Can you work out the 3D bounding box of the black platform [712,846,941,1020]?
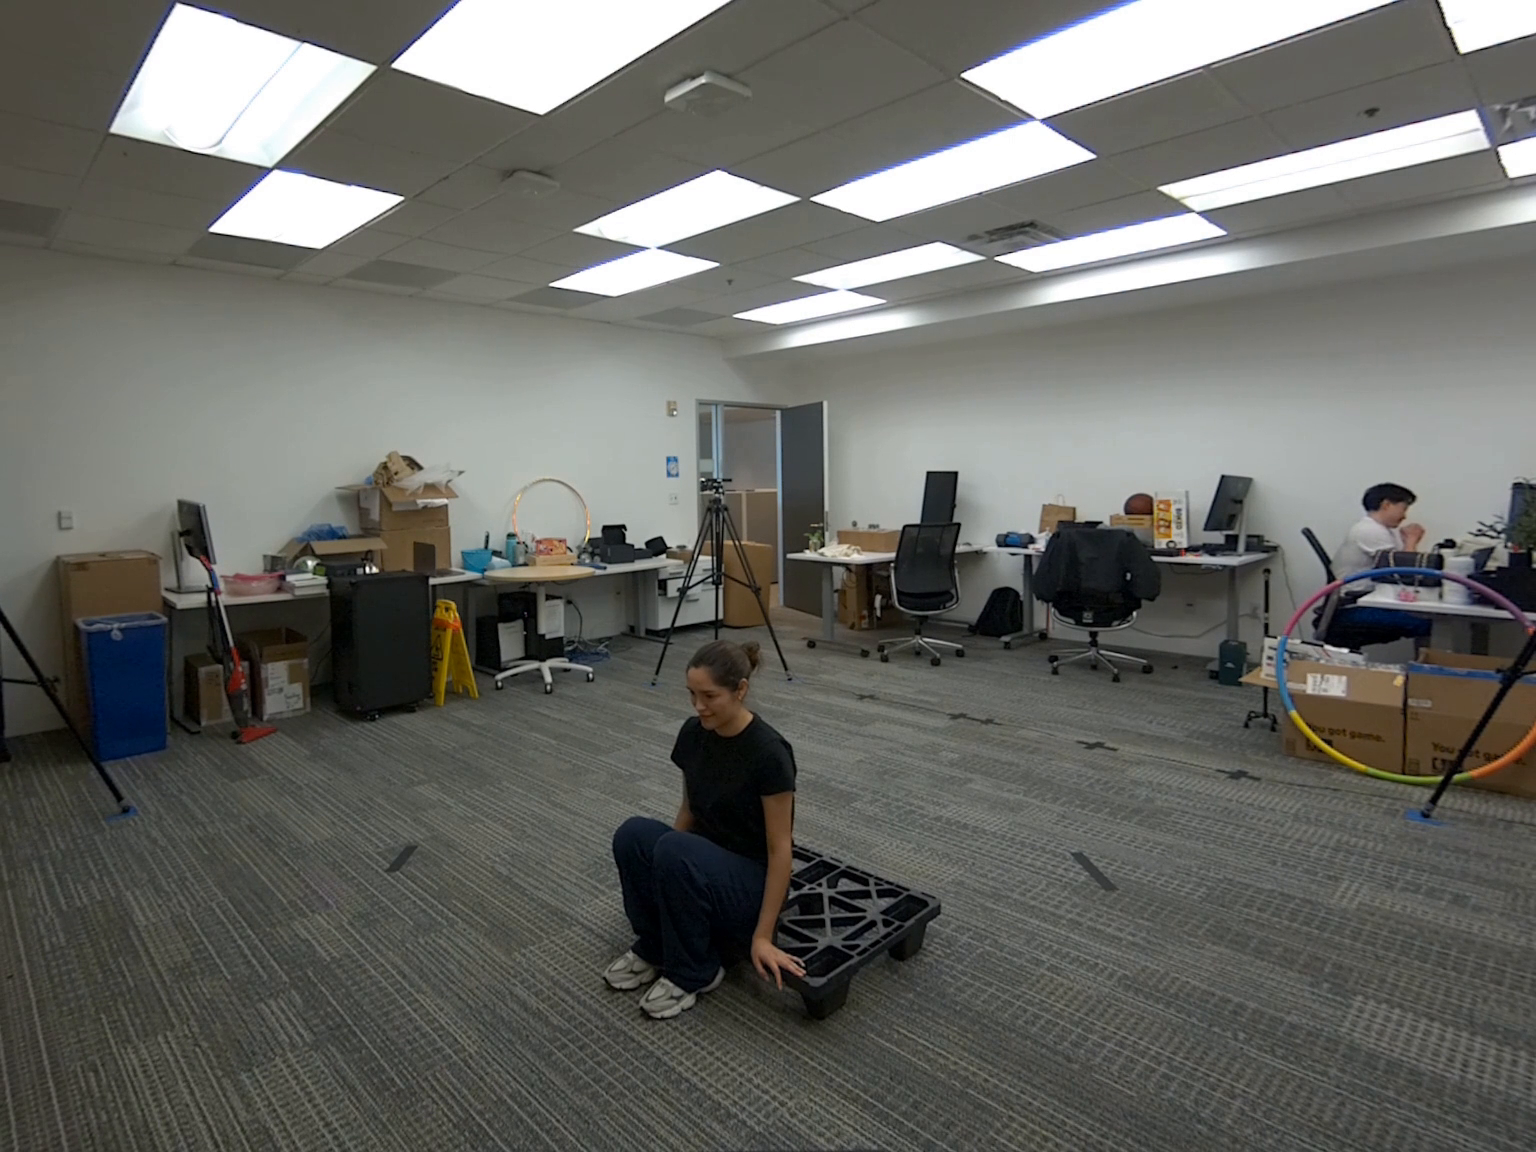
[{"bbox_3d":[0.032,1.029,2.644,0.831,0.143,0.589,6,9,44],"label":"black platform"}]
